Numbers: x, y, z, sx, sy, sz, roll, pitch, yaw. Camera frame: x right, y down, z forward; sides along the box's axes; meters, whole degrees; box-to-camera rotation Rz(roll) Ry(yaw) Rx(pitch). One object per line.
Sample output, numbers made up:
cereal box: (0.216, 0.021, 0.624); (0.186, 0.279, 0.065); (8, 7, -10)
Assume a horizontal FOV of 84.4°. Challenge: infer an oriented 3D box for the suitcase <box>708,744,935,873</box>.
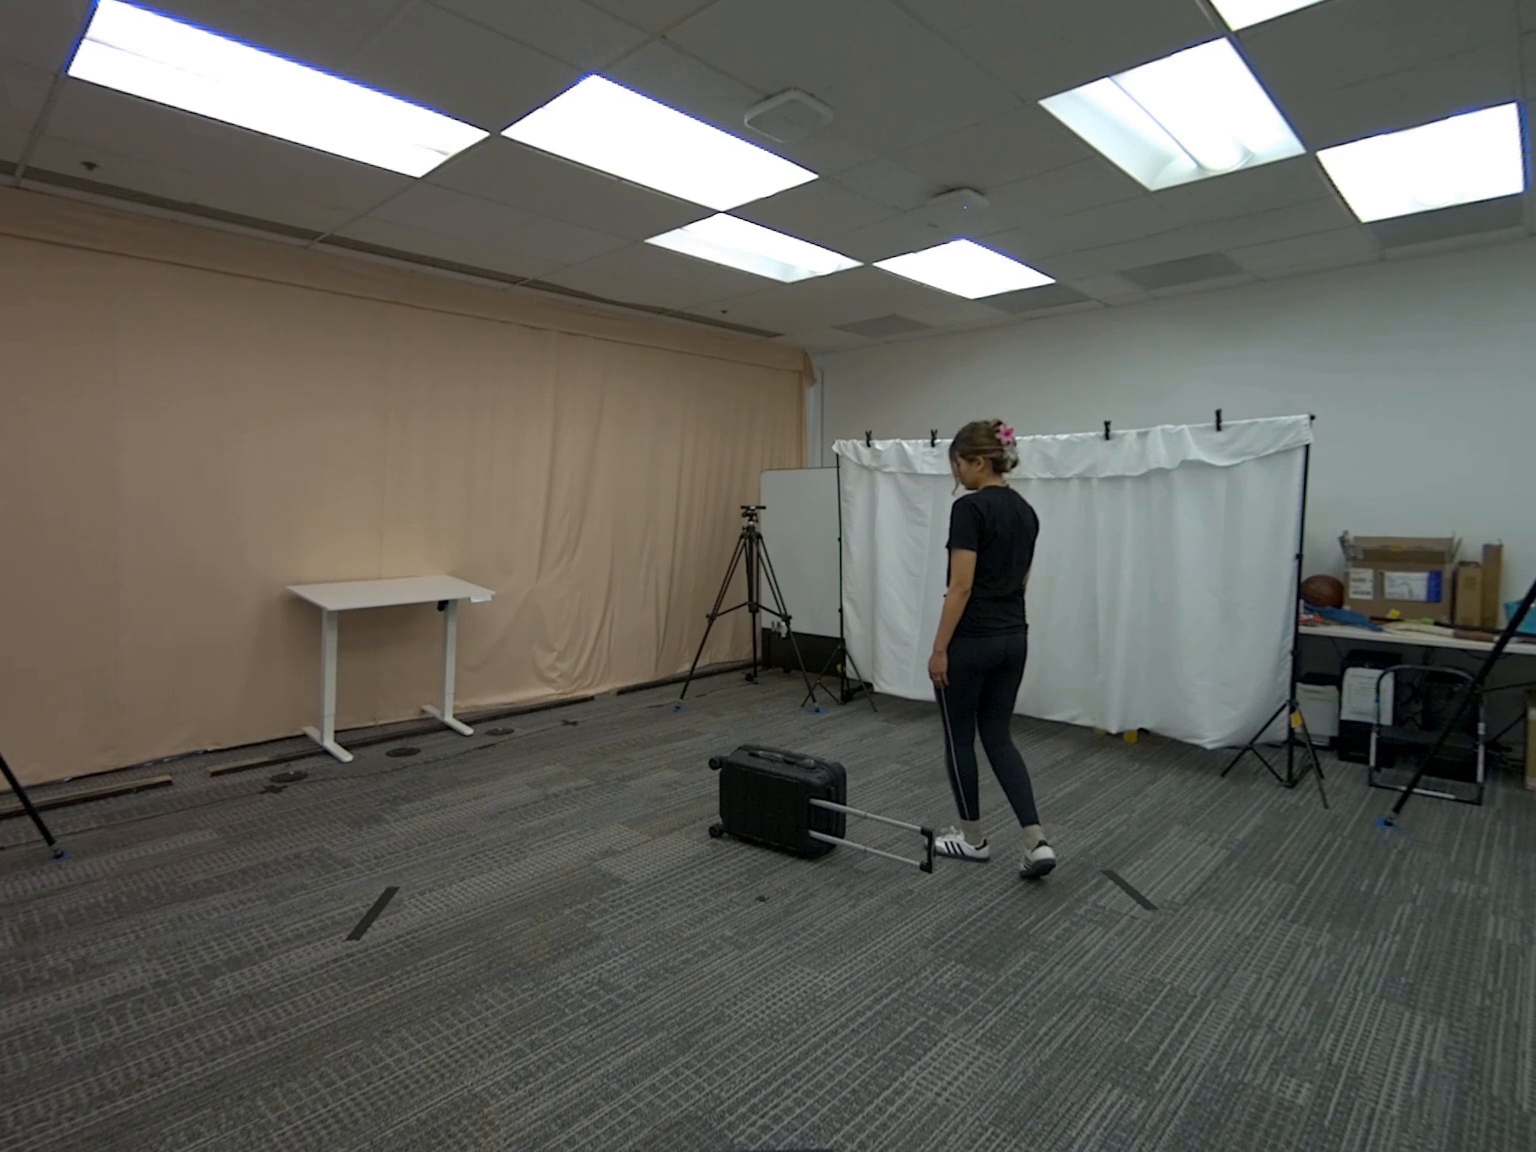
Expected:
suitcase: (0.226, 0.924, 3.346); (1.009, 0.383, 0.250); (3, 5, 34)
